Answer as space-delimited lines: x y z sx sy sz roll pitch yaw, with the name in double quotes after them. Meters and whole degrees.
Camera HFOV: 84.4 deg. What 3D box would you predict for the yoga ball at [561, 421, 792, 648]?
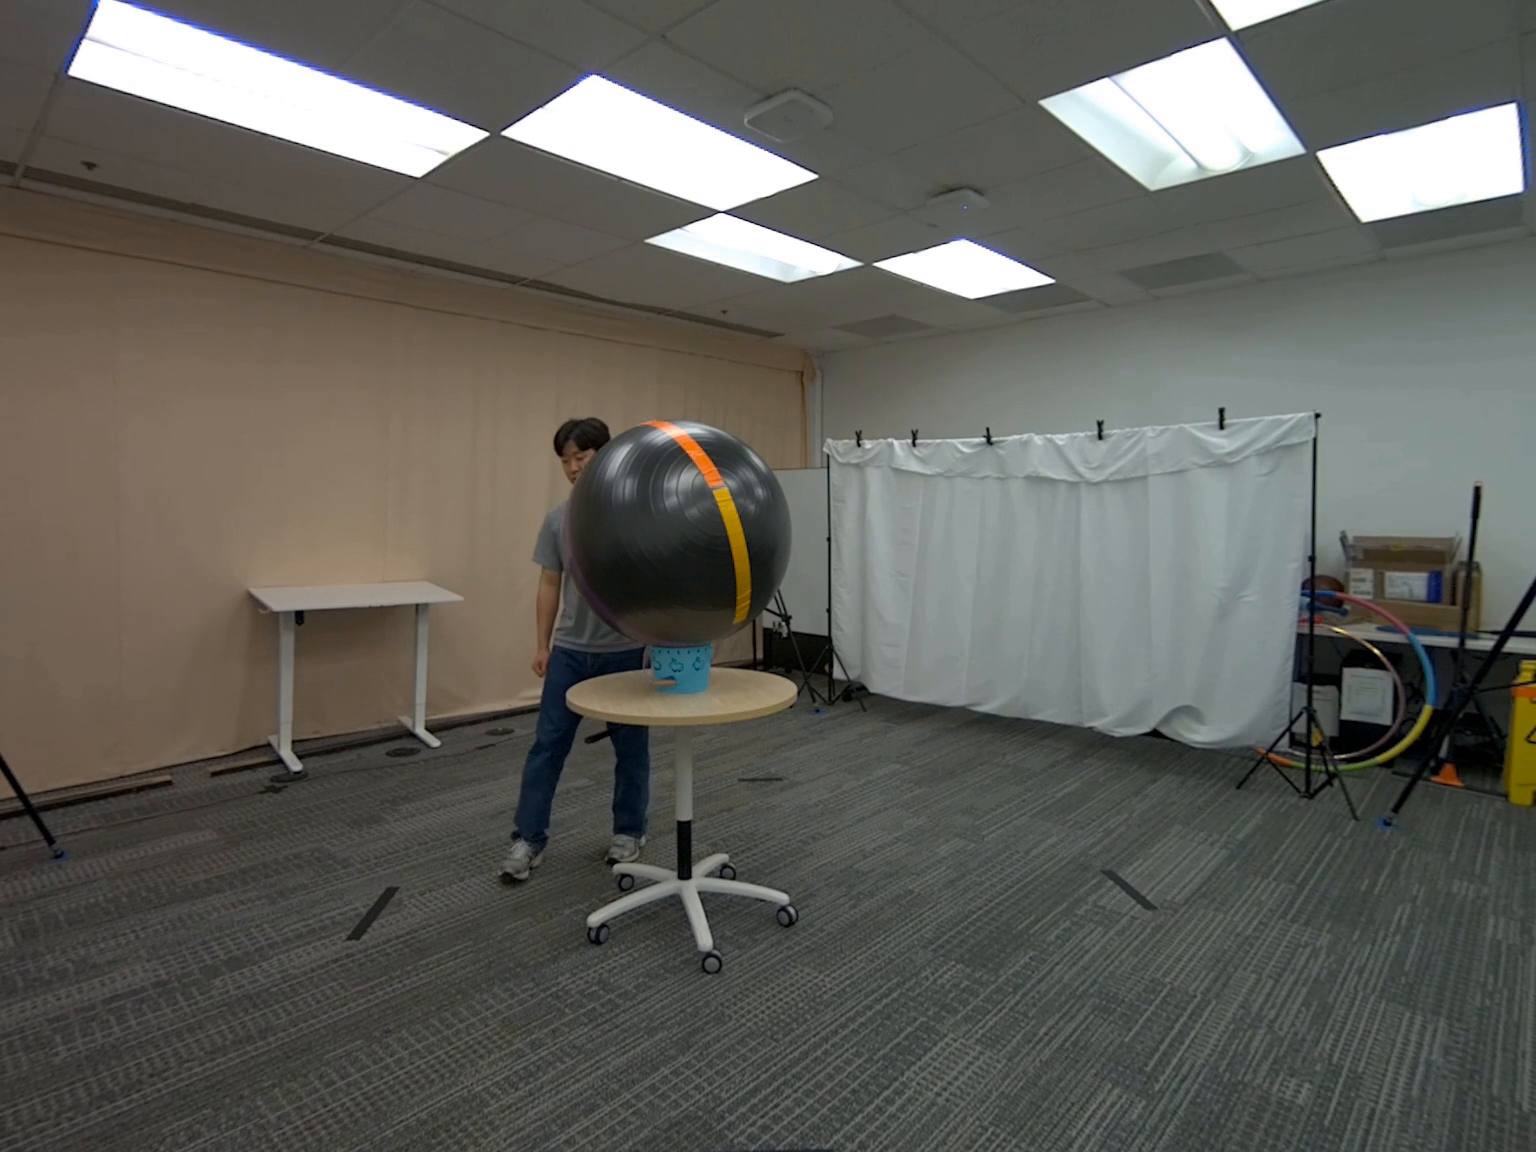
-0.301 -0.136 2.807 0.757 0.756 0.760 0 4 -2 "yoga ball"
